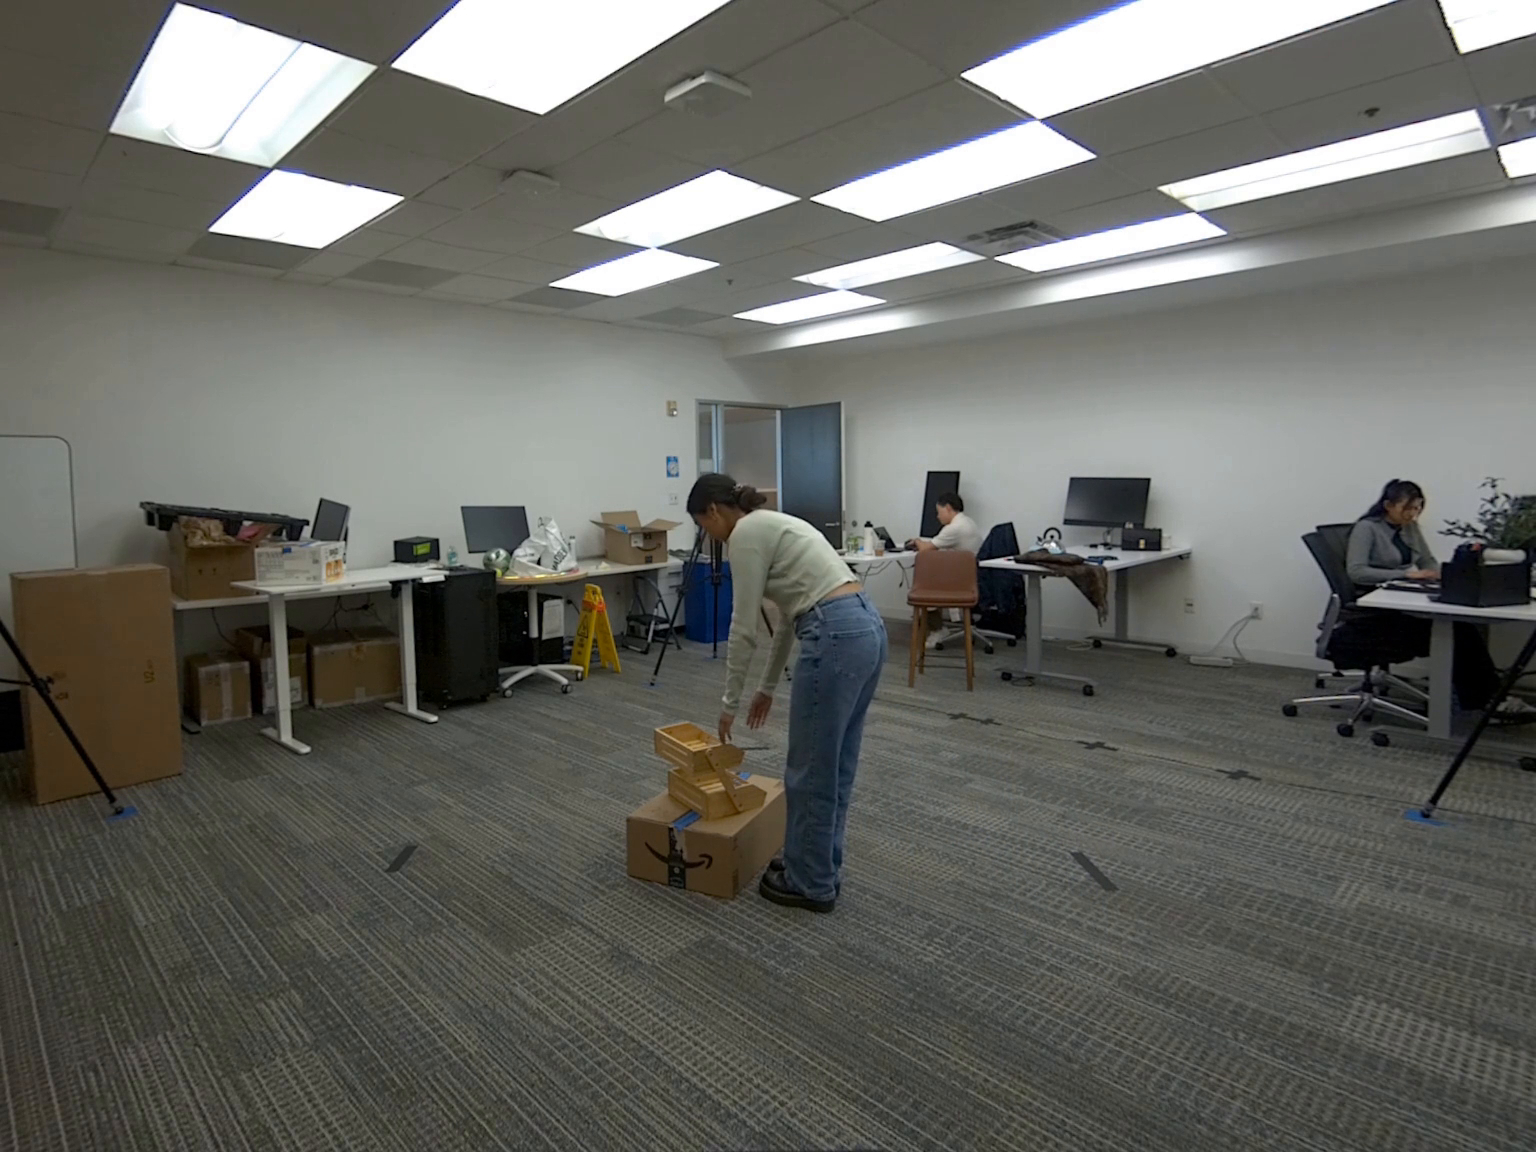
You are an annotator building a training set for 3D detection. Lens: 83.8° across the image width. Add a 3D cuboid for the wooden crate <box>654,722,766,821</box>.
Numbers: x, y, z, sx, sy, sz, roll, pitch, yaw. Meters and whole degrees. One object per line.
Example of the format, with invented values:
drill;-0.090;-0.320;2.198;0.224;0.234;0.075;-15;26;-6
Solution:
wooden crate;-0.211;0.695;3.139;0.295;0.272;0.334;-6;8;-33
